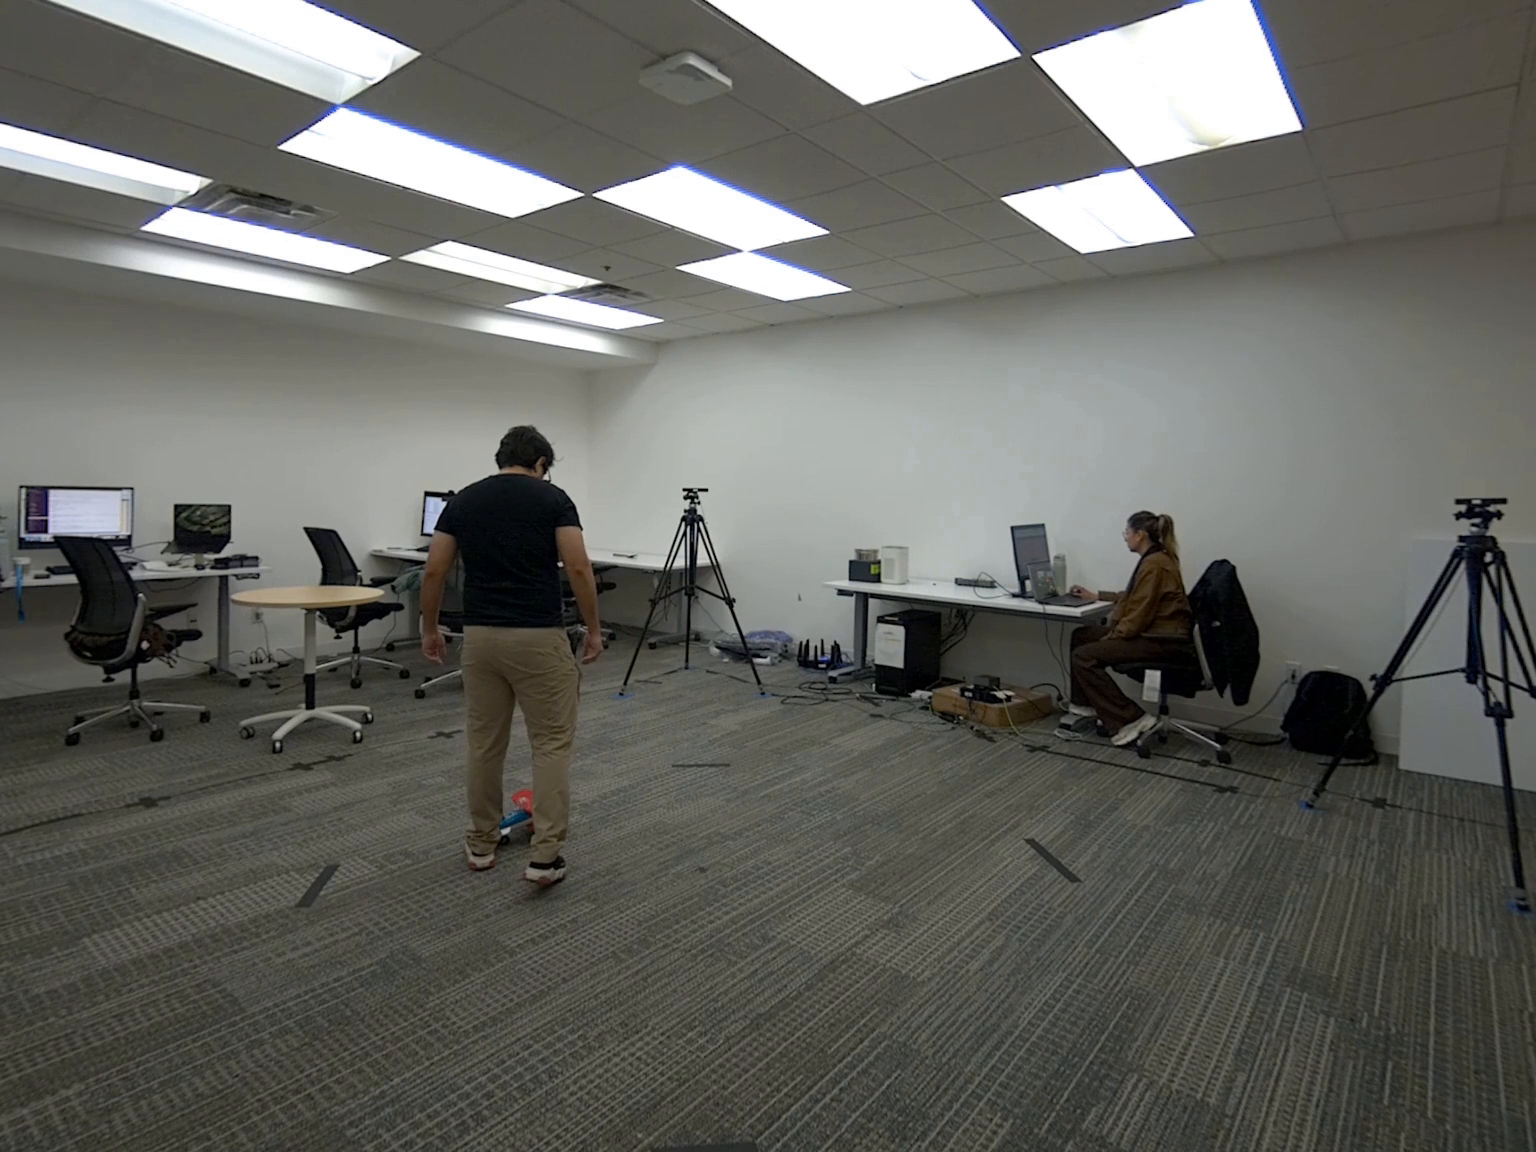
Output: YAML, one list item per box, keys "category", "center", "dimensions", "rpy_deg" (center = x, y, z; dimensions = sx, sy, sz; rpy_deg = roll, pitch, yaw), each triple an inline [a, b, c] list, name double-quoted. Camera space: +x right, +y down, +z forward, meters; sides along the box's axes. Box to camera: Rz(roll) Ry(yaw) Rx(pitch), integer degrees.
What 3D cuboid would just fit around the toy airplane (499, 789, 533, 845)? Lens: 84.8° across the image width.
- category: "toy airplane"
  center: [-0.958, 0.959, 3.355]
  dimensions: [0.257, 0.156, 0.254]
  rpy_deg: [2, 5, 22]
